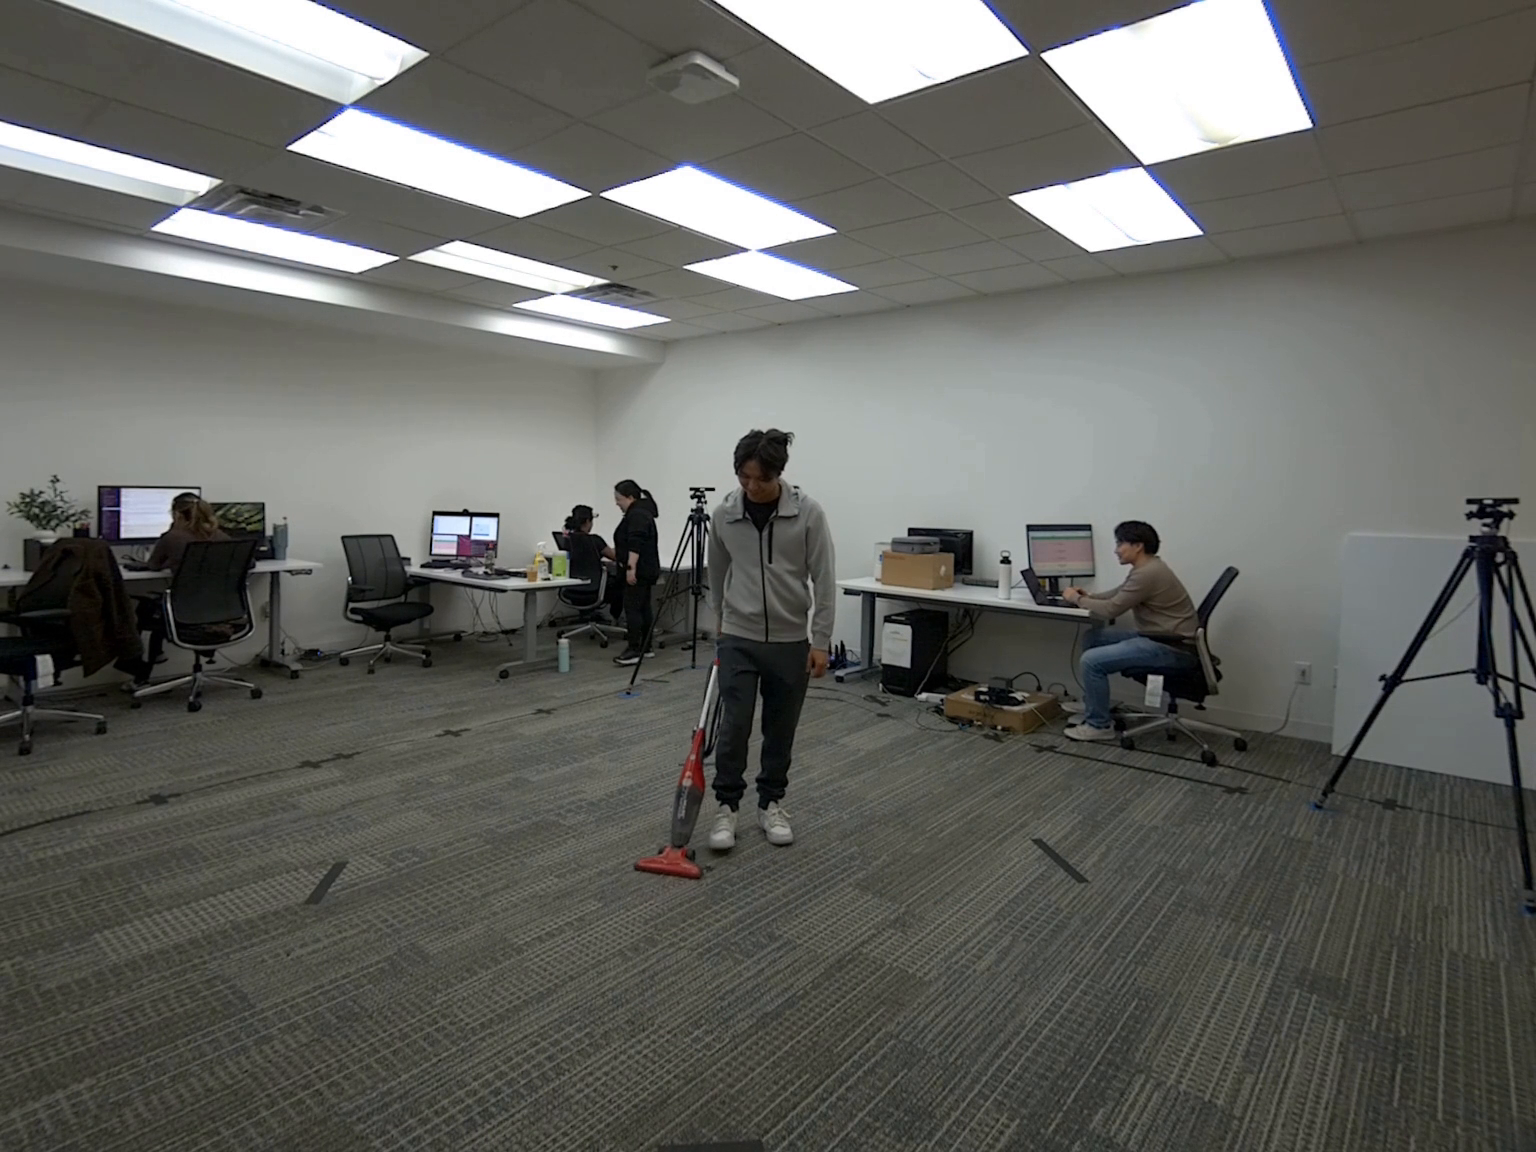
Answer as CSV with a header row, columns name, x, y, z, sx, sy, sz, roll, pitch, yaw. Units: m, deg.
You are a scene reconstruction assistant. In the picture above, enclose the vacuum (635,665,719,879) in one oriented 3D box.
name,x,y,z,sx,sy,sz,roll,pitch,yaw
vacuum,-0.279,0.659,3.415,0.256,1.070,0.139,4,-40,10
